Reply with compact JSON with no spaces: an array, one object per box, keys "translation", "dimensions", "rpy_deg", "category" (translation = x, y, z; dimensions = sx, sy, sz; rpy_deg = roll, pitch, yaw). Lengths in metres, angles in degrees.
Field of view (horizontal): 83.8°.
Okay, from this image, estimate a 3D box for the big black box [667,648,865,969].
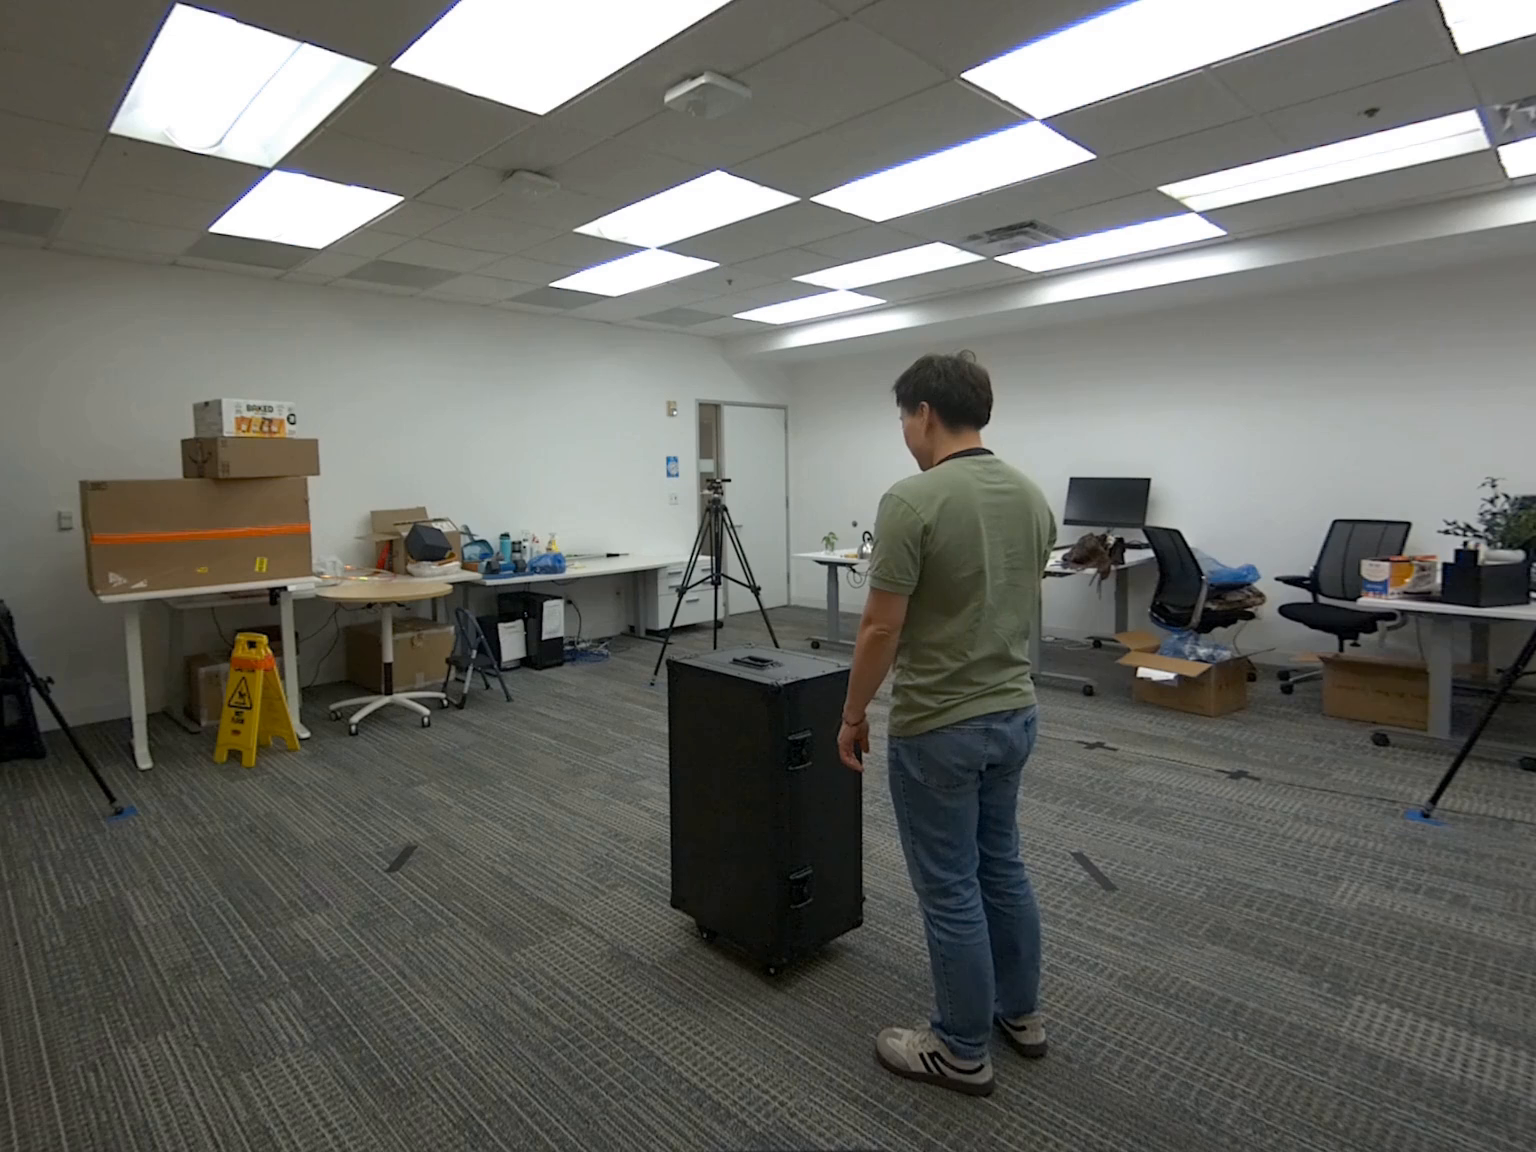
[{"translation":[-0.007,0.678,2.588],"dimensions":[0.385,0.859,0.537],"rpy_deg":[-3,5,-43],"category":"big black box"}]
